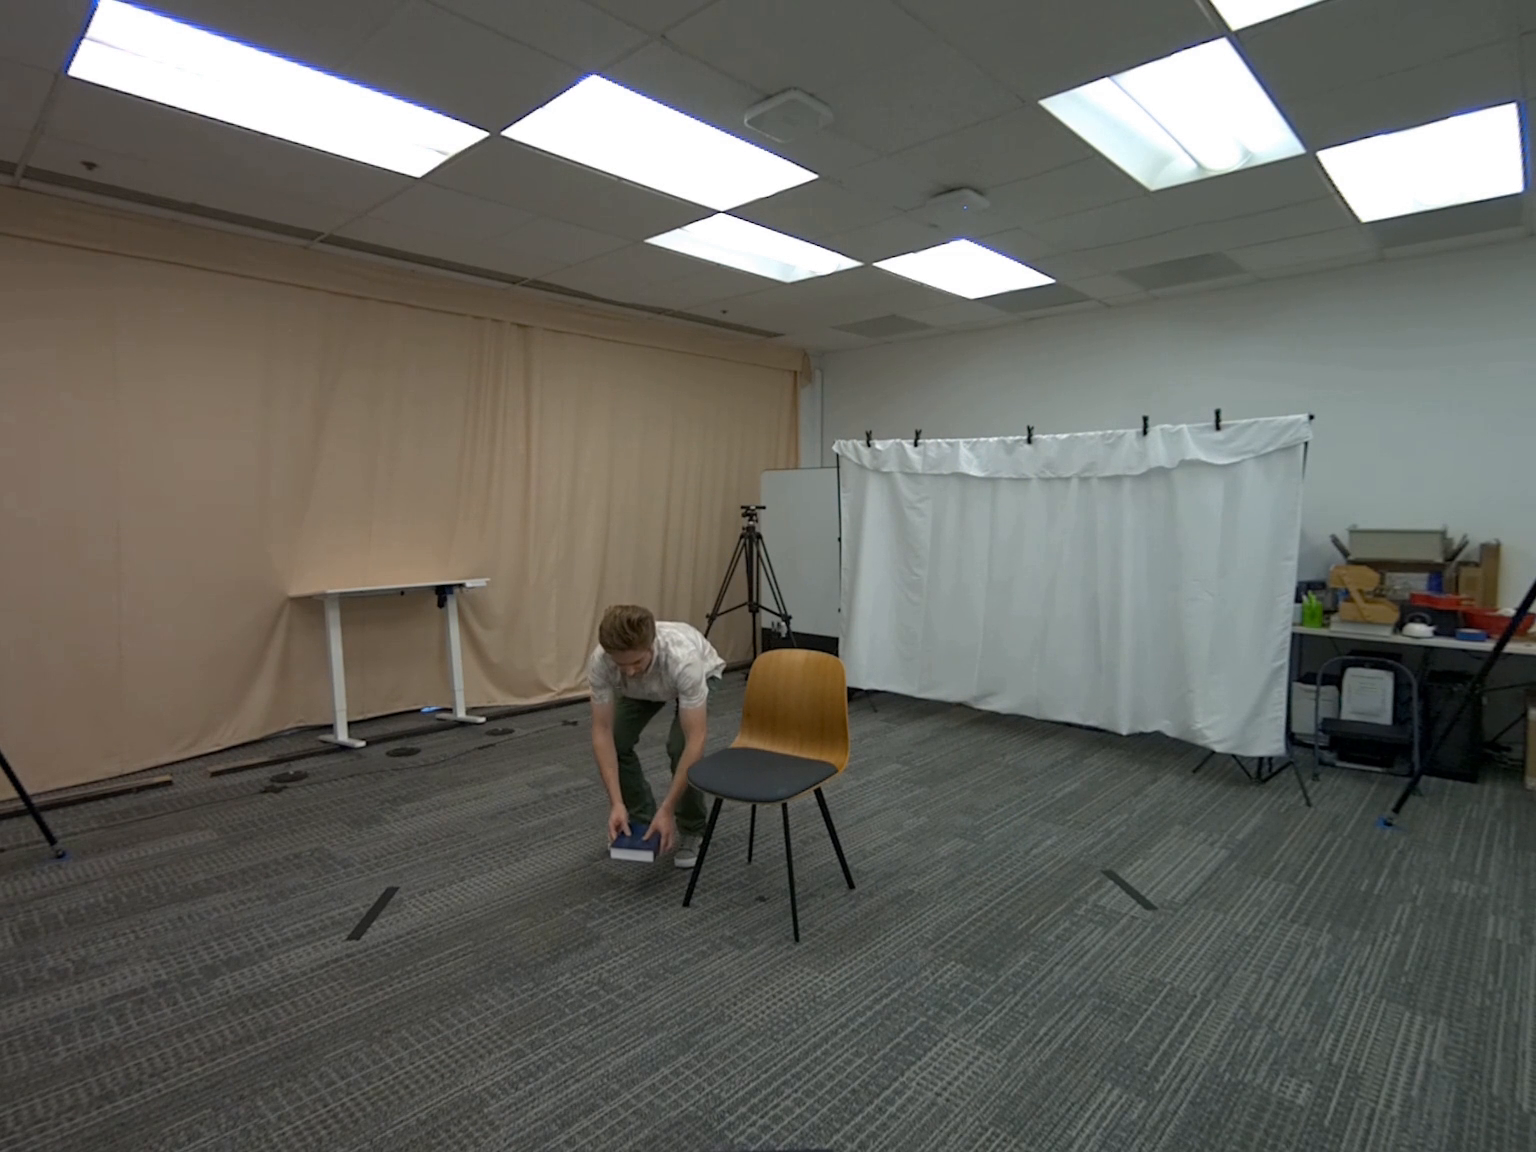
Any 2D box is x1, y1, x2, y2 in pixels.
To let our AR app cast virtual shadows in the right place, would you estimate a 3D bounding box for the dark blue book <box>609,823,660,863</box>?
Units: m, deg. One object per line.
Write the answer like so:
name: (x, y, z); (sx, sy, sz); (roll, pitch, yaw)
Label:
dark blue book: (-0.465, 0.964, 3.064); (0.165, 0.045, 0.243); (0, 5, 8)
